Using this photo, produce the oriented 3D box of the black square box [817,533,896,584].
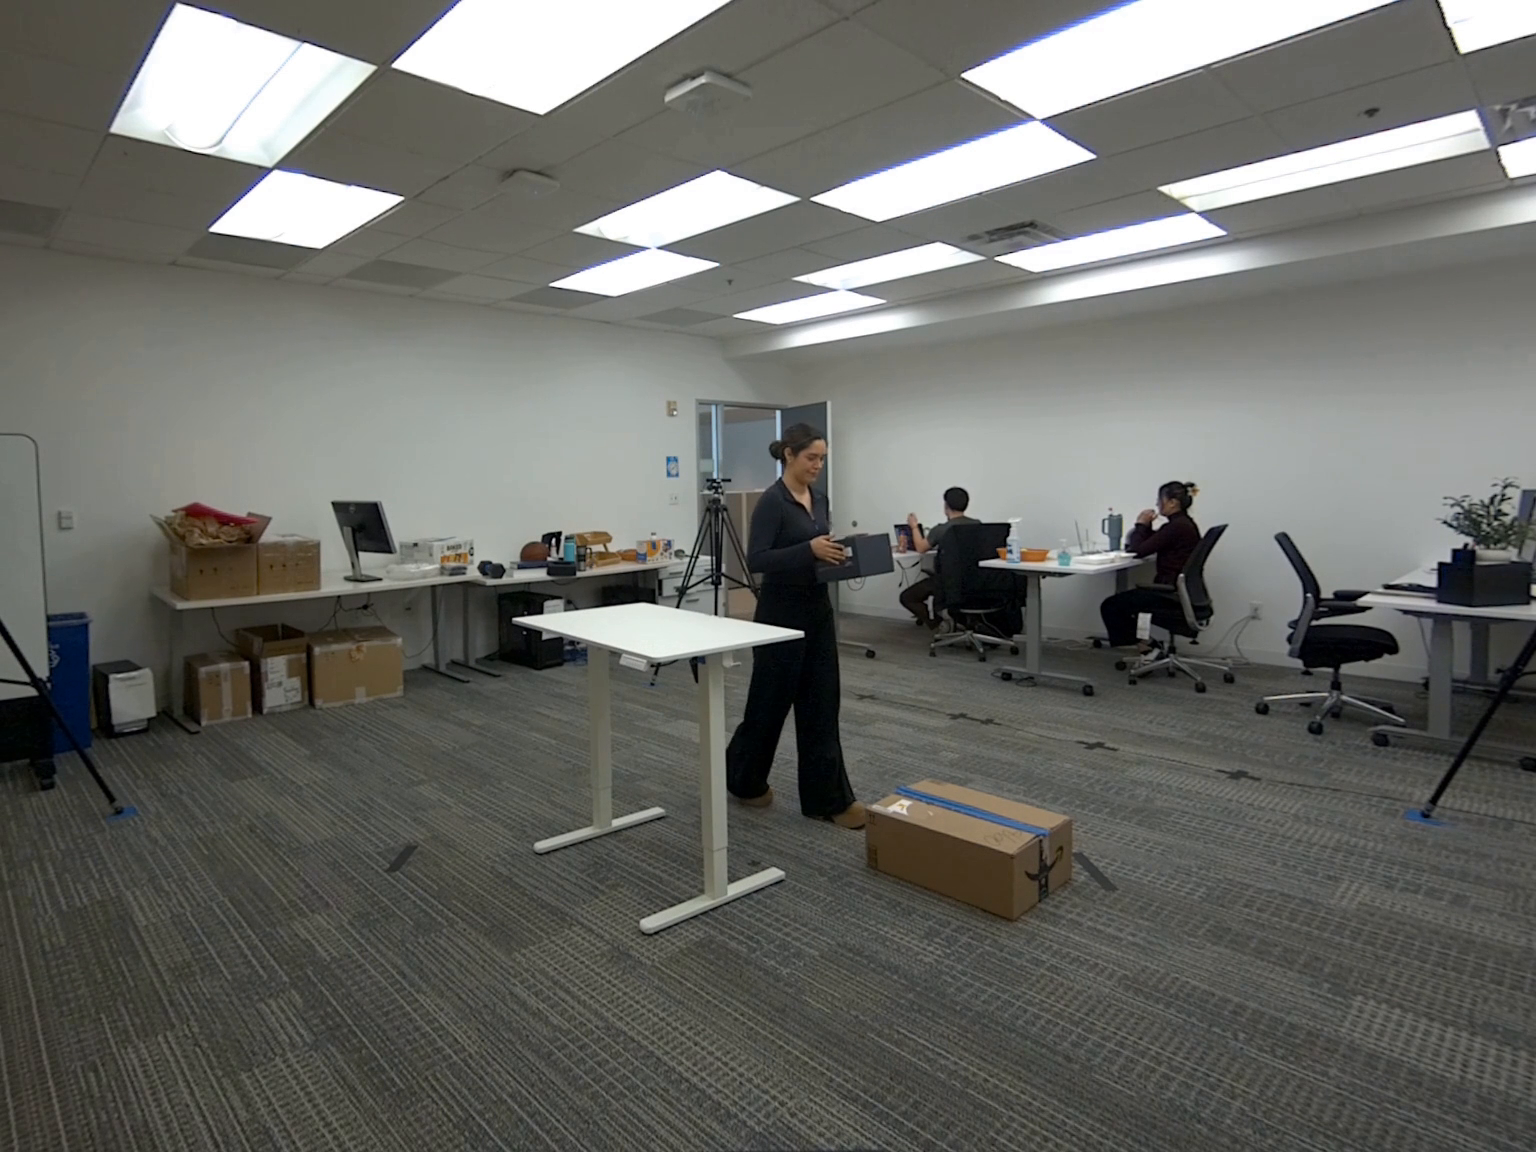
[{"bbox_3d":[0.330,-0.070,3.345,0.222,0.156,0.222,-8,1,45],"label":"black square box"}]
